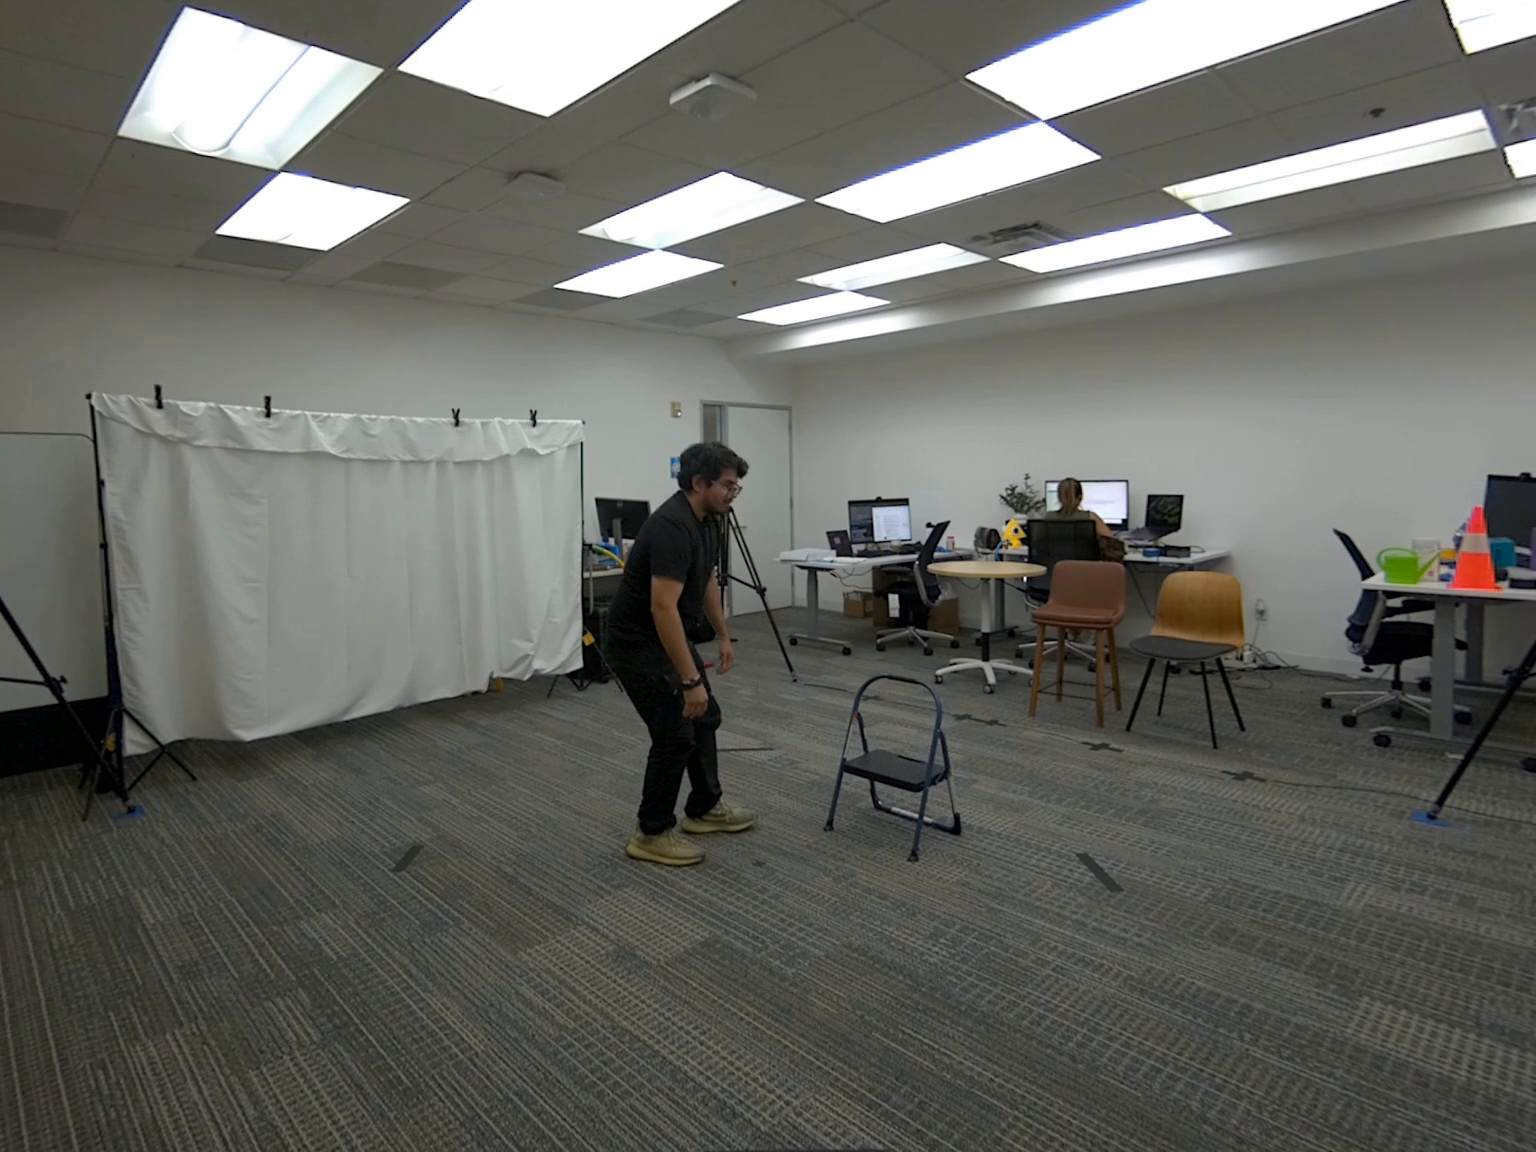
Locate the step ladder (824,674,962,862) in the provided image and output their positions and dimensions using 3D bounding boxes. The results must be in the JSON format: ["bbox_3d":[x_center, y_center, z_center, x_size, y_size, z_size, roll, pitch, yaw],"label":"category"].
[{"bbox_3d":[0.493,0.708,3.353,0.444,0.604,0.340,5,6,44],"label":"step ladder"}]
